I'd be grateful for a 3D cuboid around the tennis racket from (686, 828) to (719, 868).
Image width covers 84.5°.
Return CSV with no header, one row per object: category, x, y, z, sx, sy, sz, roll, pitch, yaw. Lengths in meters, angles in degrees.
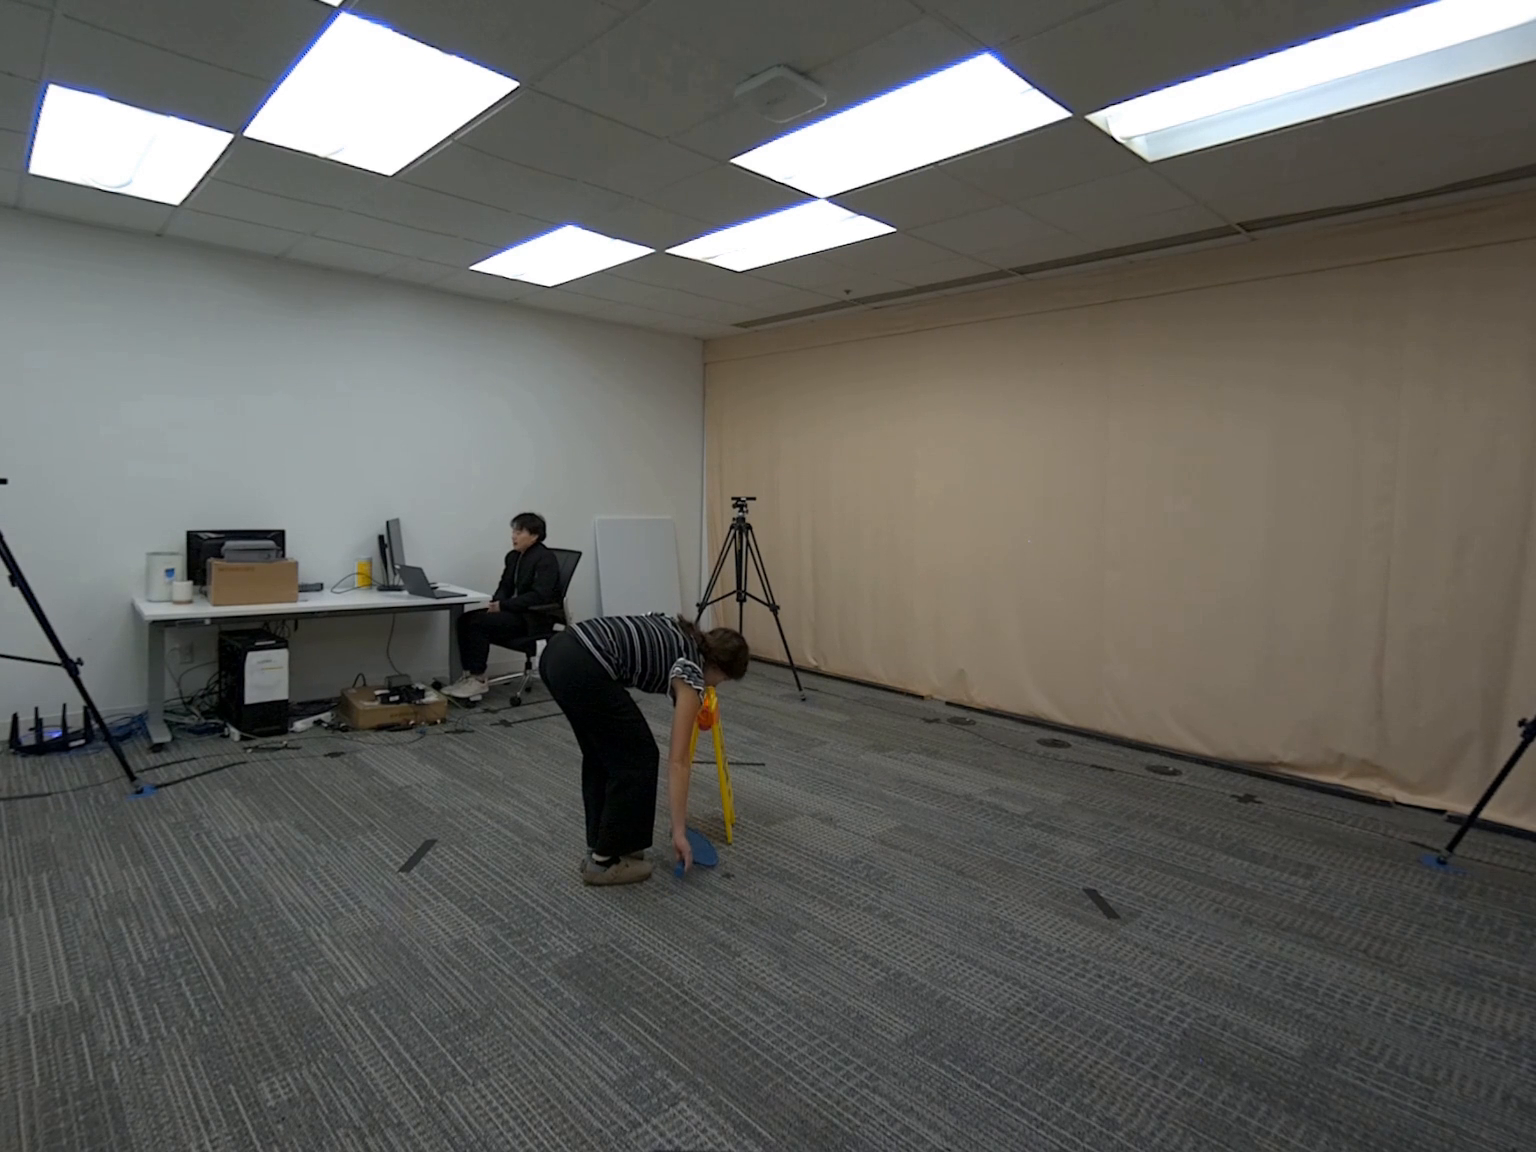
tennis racket,-0.299,1.041,3.169,0.216,0.032,0.429,34,3,8
